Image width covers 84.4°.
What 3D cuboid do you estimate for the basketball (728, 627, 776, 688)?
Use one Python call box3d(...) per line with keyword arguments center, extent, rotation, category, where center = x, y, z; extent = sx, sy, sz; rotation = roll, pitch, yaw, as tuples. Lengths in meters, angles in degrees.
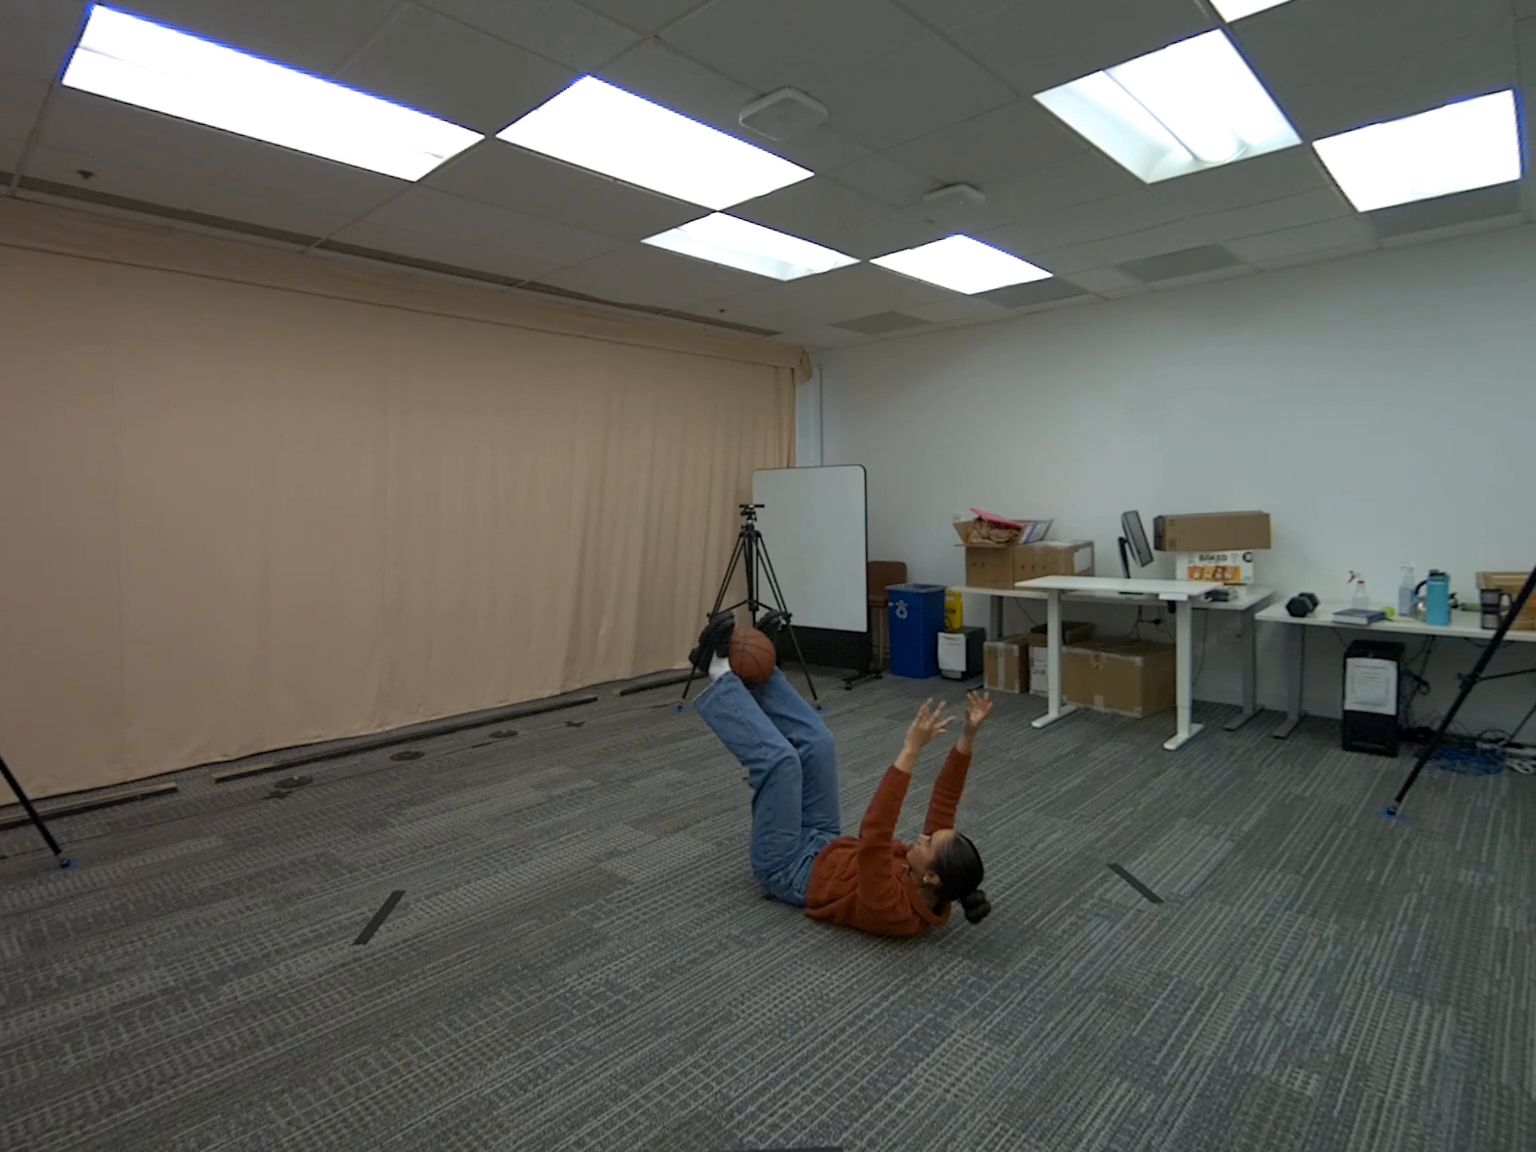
box3d(center=(-0.090, 0.320, 3.175), extent=(0.235, 0.235, 0.237), rotation=(2, 5, -2), category="basketball")
